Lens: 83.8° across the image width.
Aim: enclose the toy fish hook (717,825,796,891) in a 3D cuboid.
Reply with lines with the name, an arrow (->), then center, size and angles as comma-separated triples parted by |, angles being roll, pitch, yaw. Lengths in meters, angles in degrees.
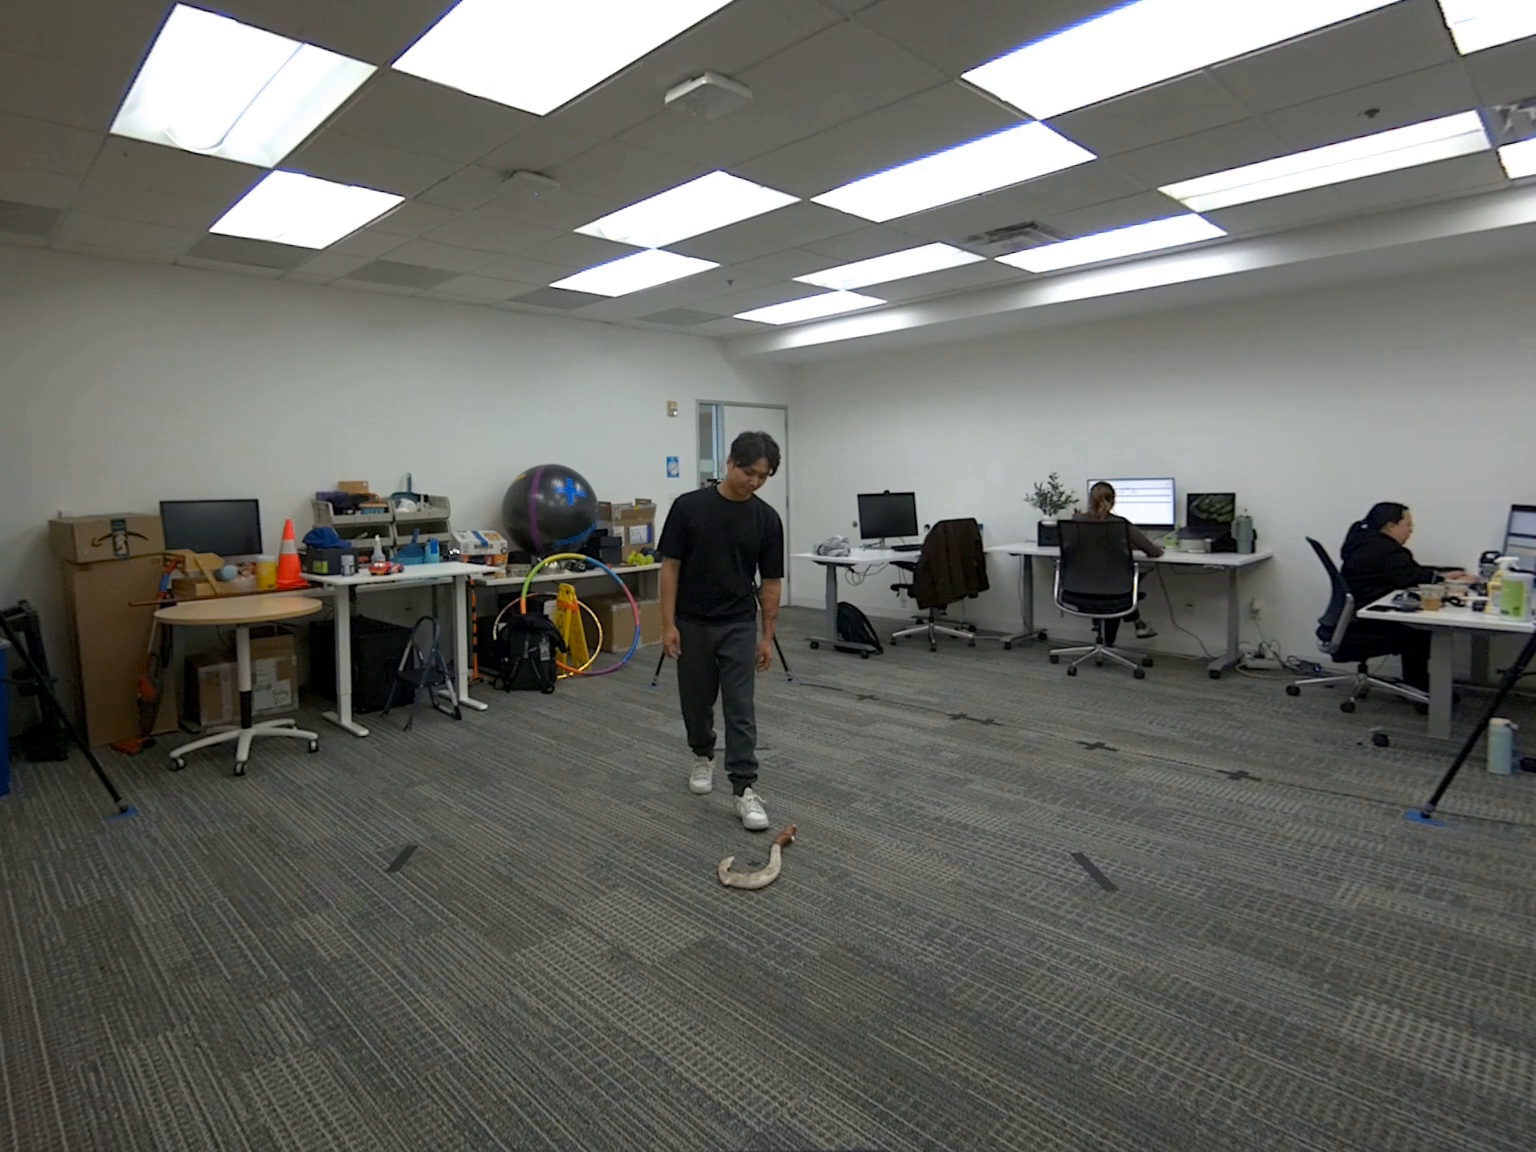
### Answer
toy fish hook -> -0.031, 1.020, 3.145 | 0.229, 0.048, 0.500 | 3, 7, 18
